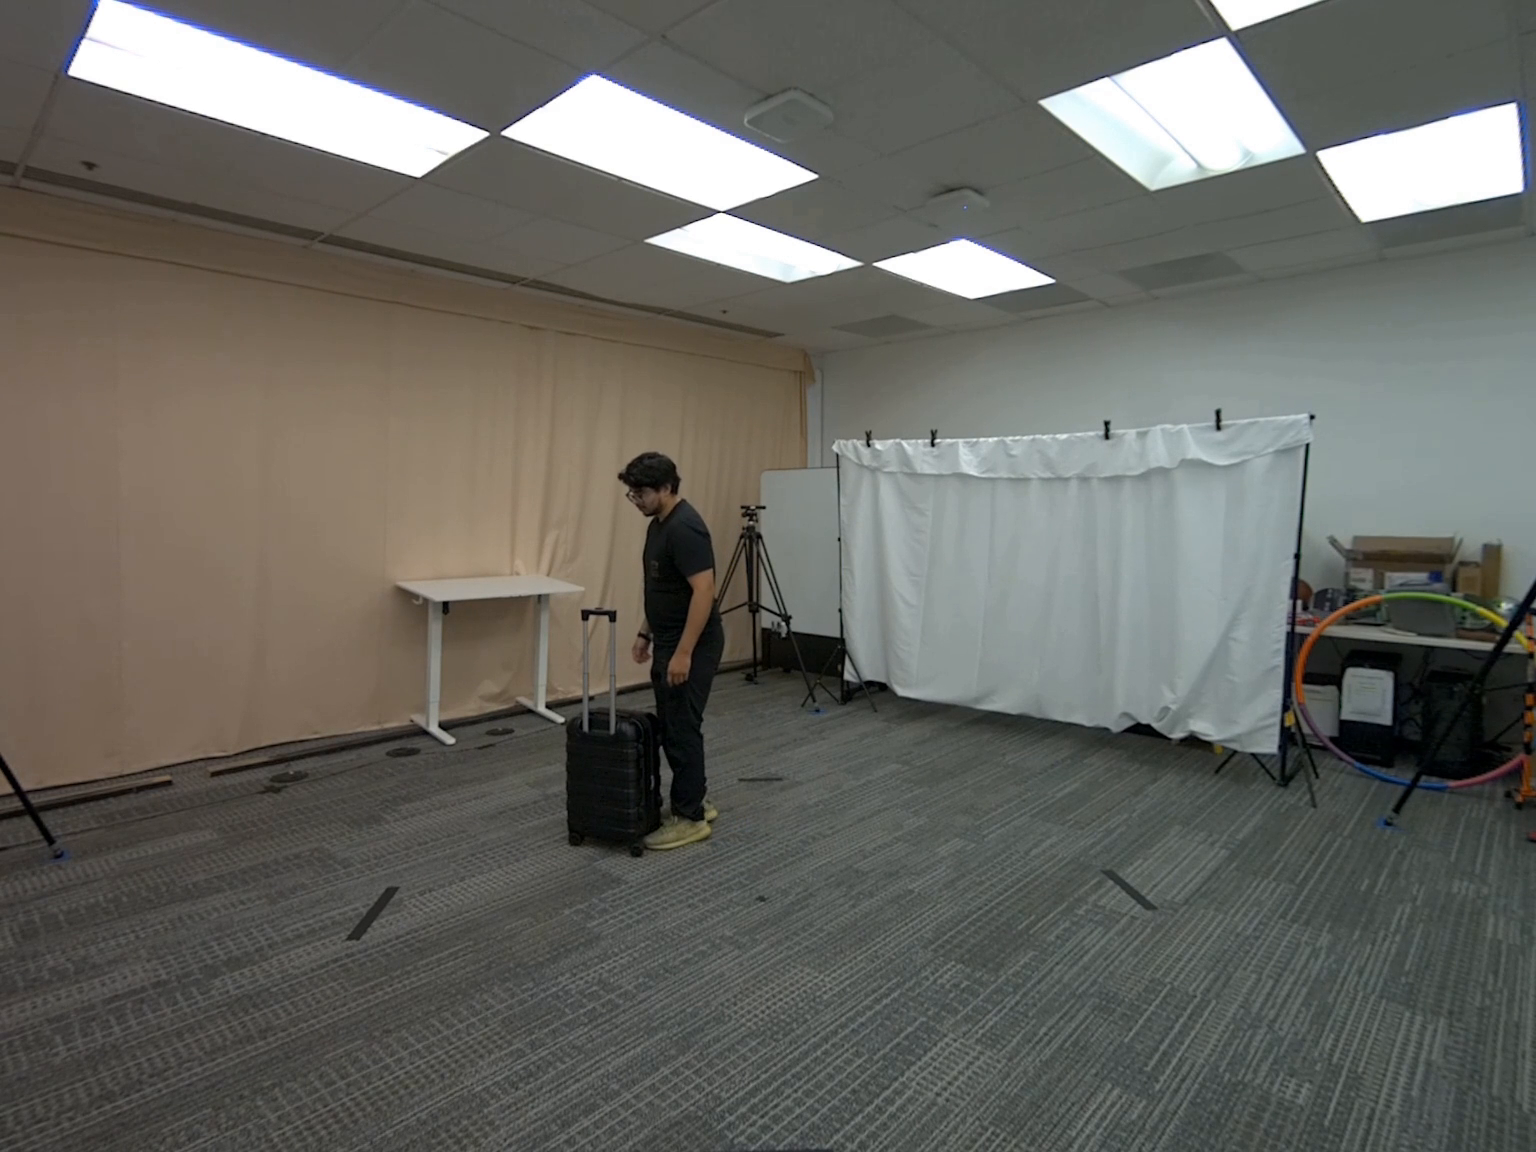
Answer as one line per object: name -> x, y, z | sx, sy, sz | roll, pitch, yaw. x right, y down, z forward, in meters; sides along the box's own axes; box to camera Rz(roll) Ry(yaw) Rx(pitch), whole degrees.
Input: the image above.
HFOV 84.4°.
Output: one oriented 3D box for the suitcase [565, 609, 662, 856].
suitcase -> -0.649, 0.629, 3.503 | 0.393, 0.977, 0.251 | 1, 2, 23
